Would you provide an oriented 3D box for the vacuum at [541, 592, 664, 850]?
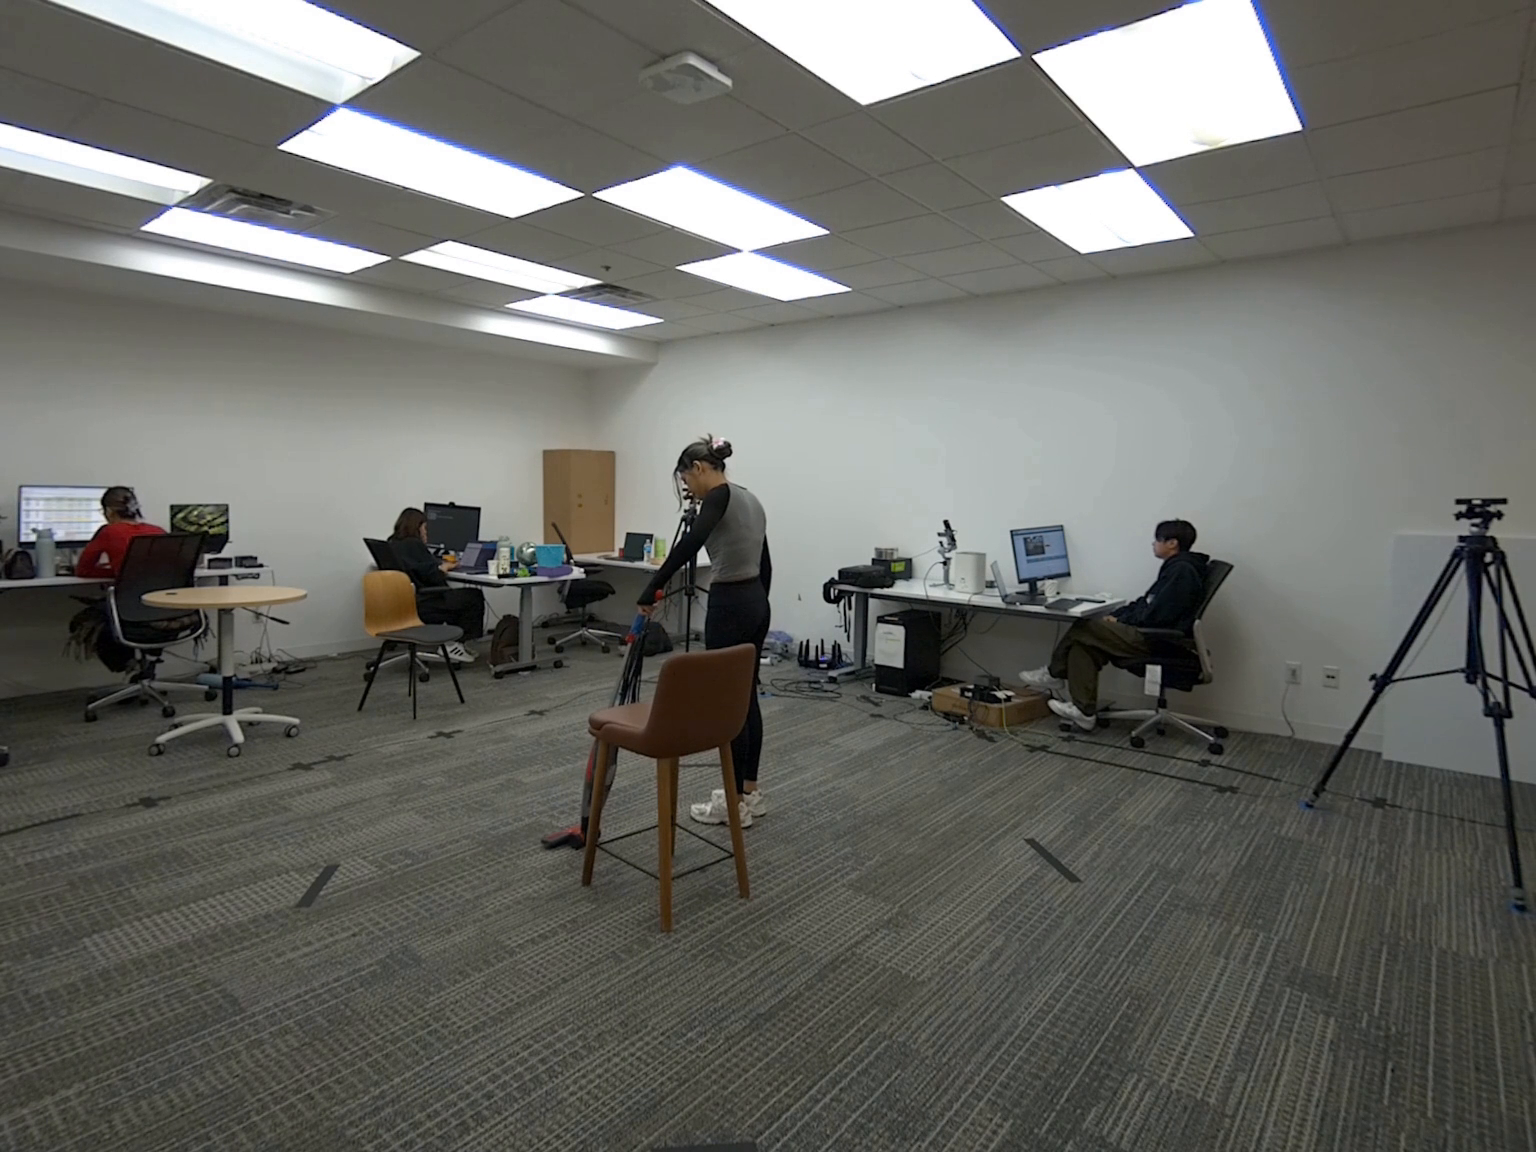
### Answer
[{"bbox_3d":[-0.605,0.554,3.259,0.149,1.044,0.244,25,10,32],"label":"vacuum"}]
